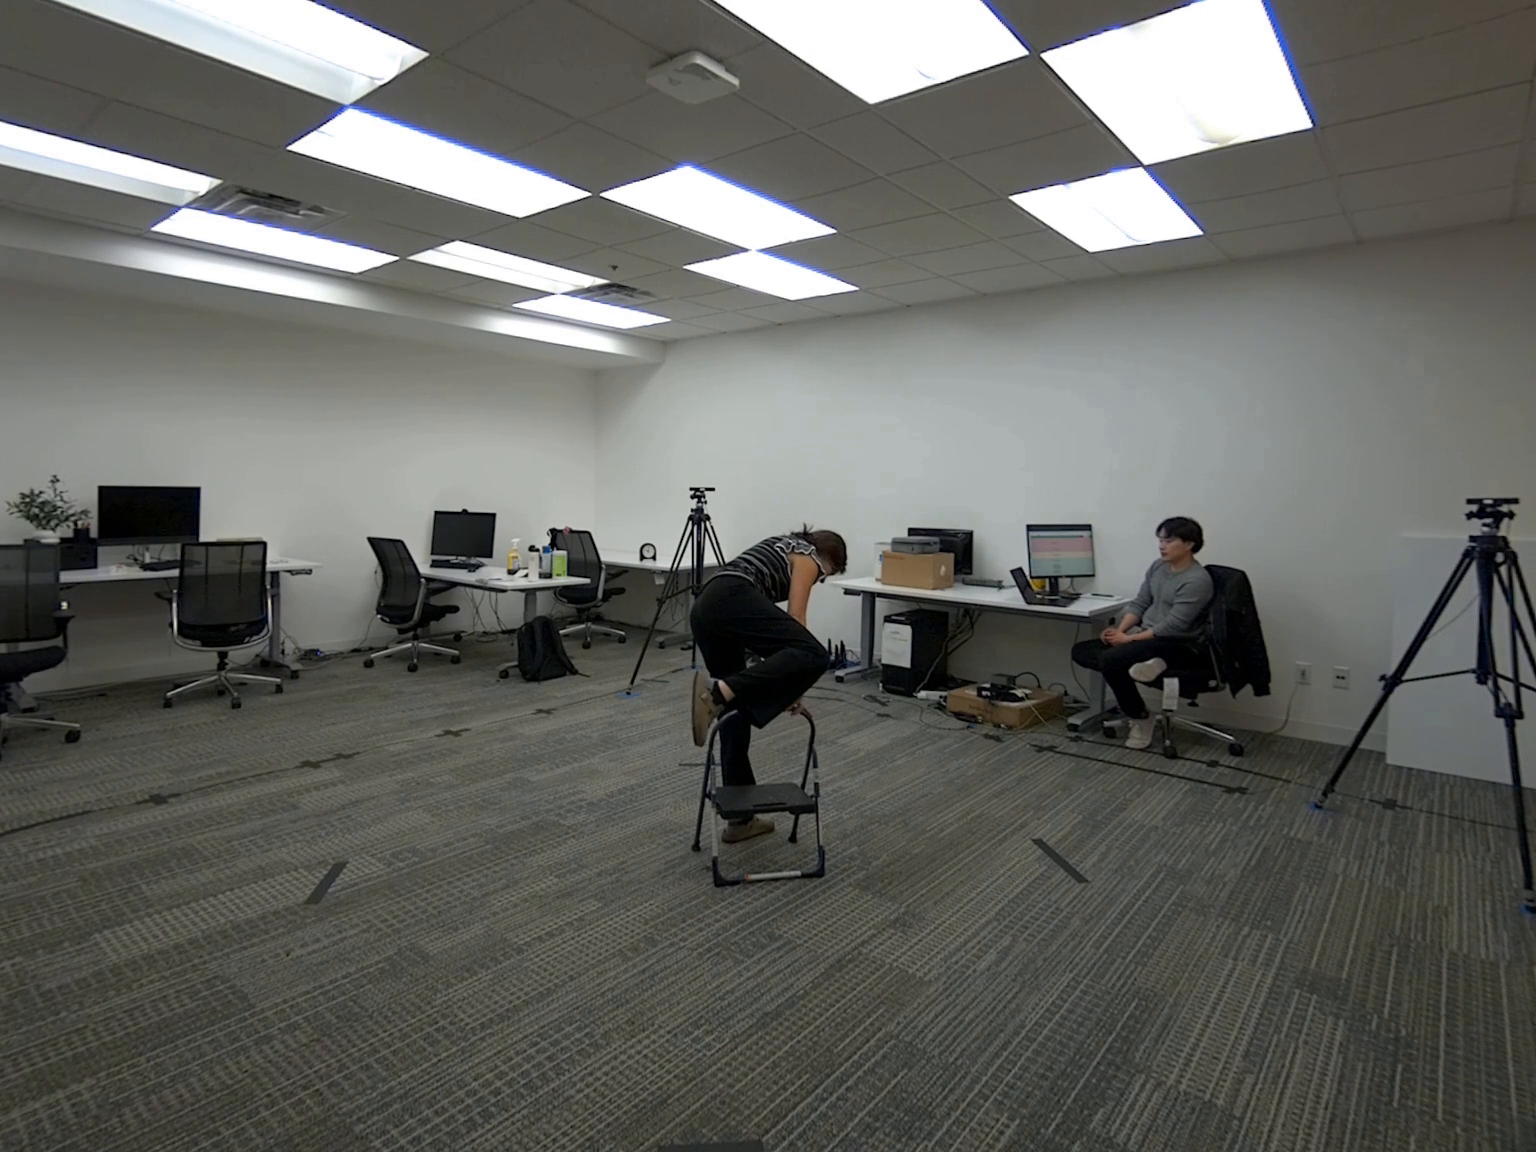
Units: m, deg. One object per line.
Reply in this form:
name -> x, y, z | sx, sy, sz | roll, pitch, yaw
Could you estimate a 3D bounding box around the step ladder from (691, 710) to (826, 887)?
step ladder -> -0.041, 0.764, 3.160 | 0.423, 0.604, 0.356 | 0, 3, -16
